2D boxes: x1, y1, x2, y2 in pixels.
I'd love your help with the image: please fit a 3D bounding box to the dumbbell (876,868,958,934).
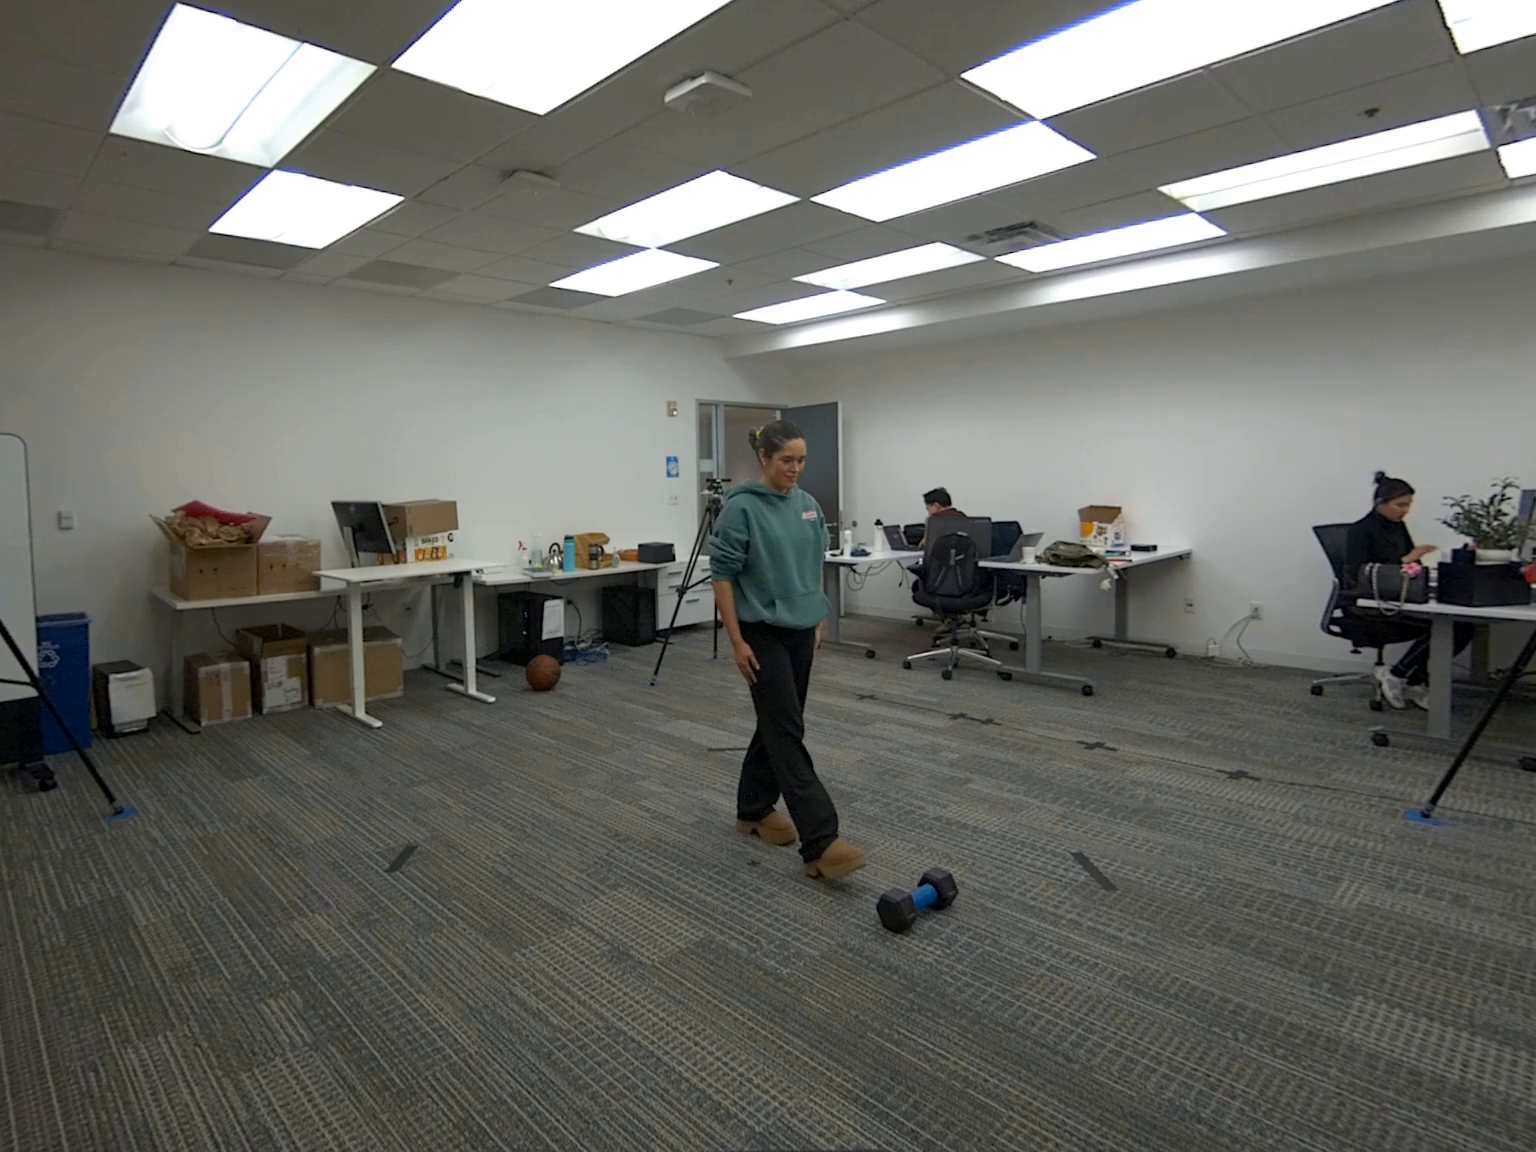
[{"bbox_3d":[0.485,1.027,2.707,0.286,0.121,0.113,-7,38,-42],"label":"dumbbell"}]
